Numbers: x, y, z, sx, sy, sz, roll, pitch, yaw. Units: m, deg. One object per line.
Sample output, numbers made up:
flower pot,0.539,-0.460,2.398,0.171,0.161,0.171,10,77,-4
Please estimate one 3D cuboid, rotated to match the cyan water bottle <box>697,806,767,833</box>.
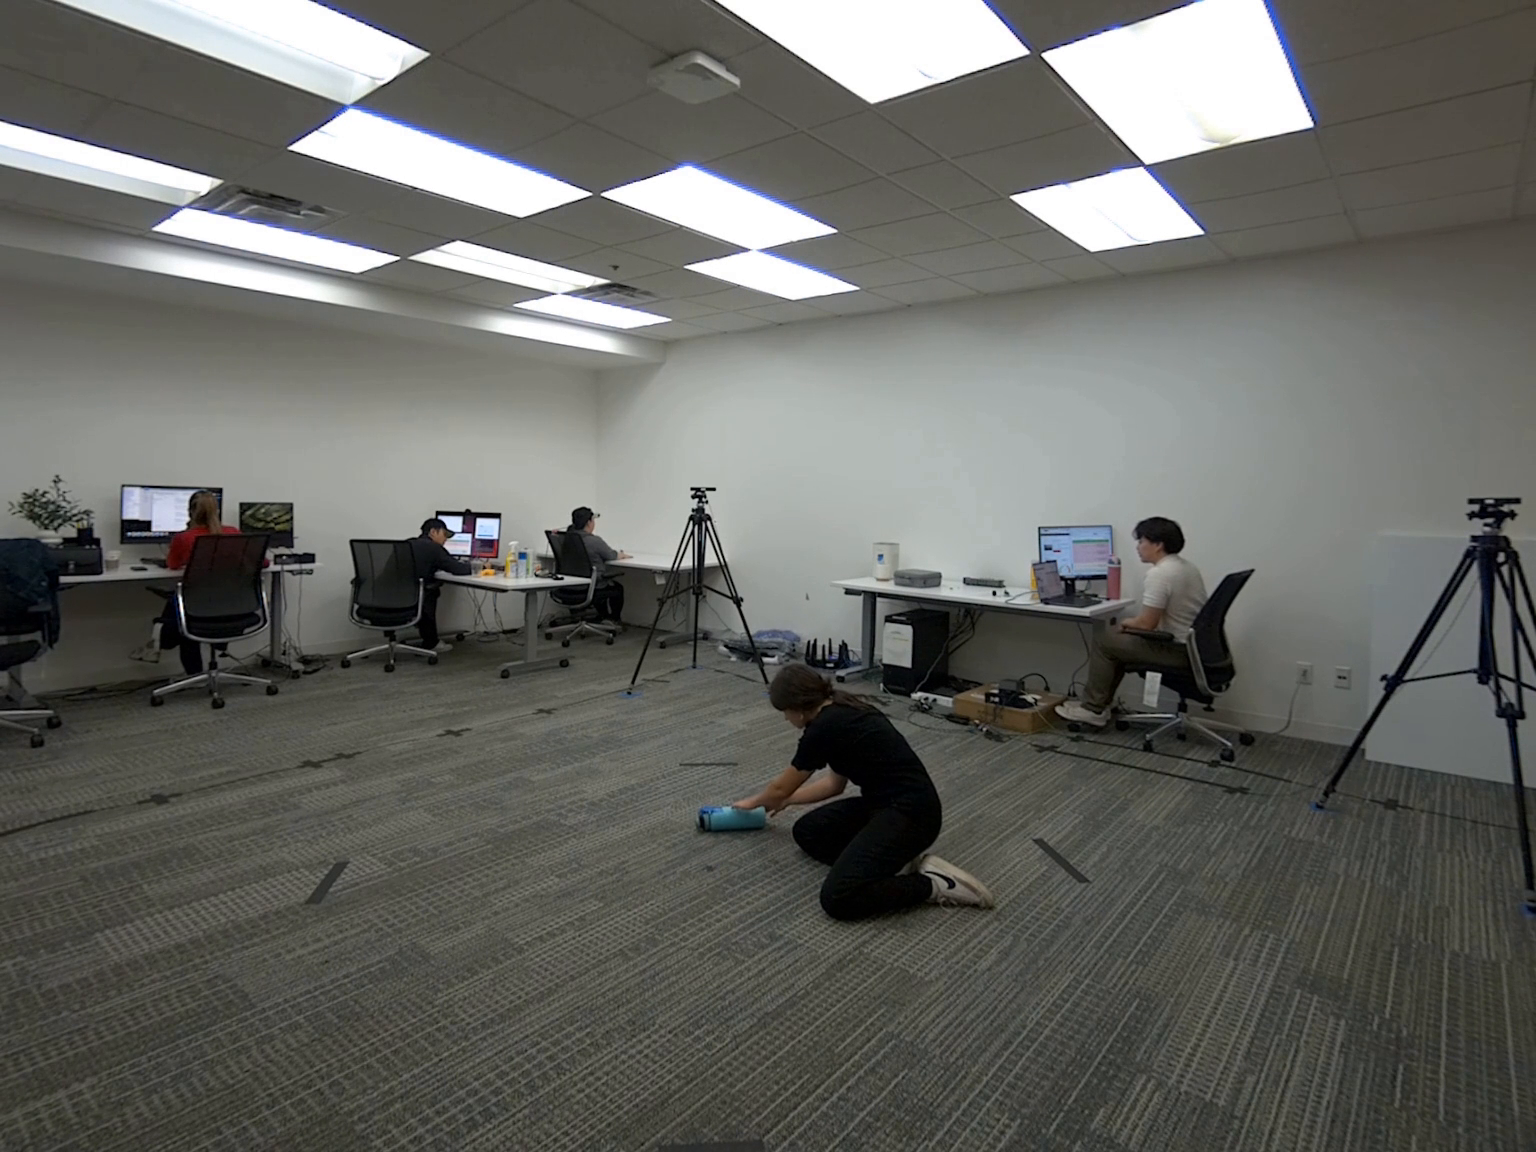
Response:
cyan water bottle,-0.165,0.988,3.477,0.280,0.092,0.093,0,4,-9
